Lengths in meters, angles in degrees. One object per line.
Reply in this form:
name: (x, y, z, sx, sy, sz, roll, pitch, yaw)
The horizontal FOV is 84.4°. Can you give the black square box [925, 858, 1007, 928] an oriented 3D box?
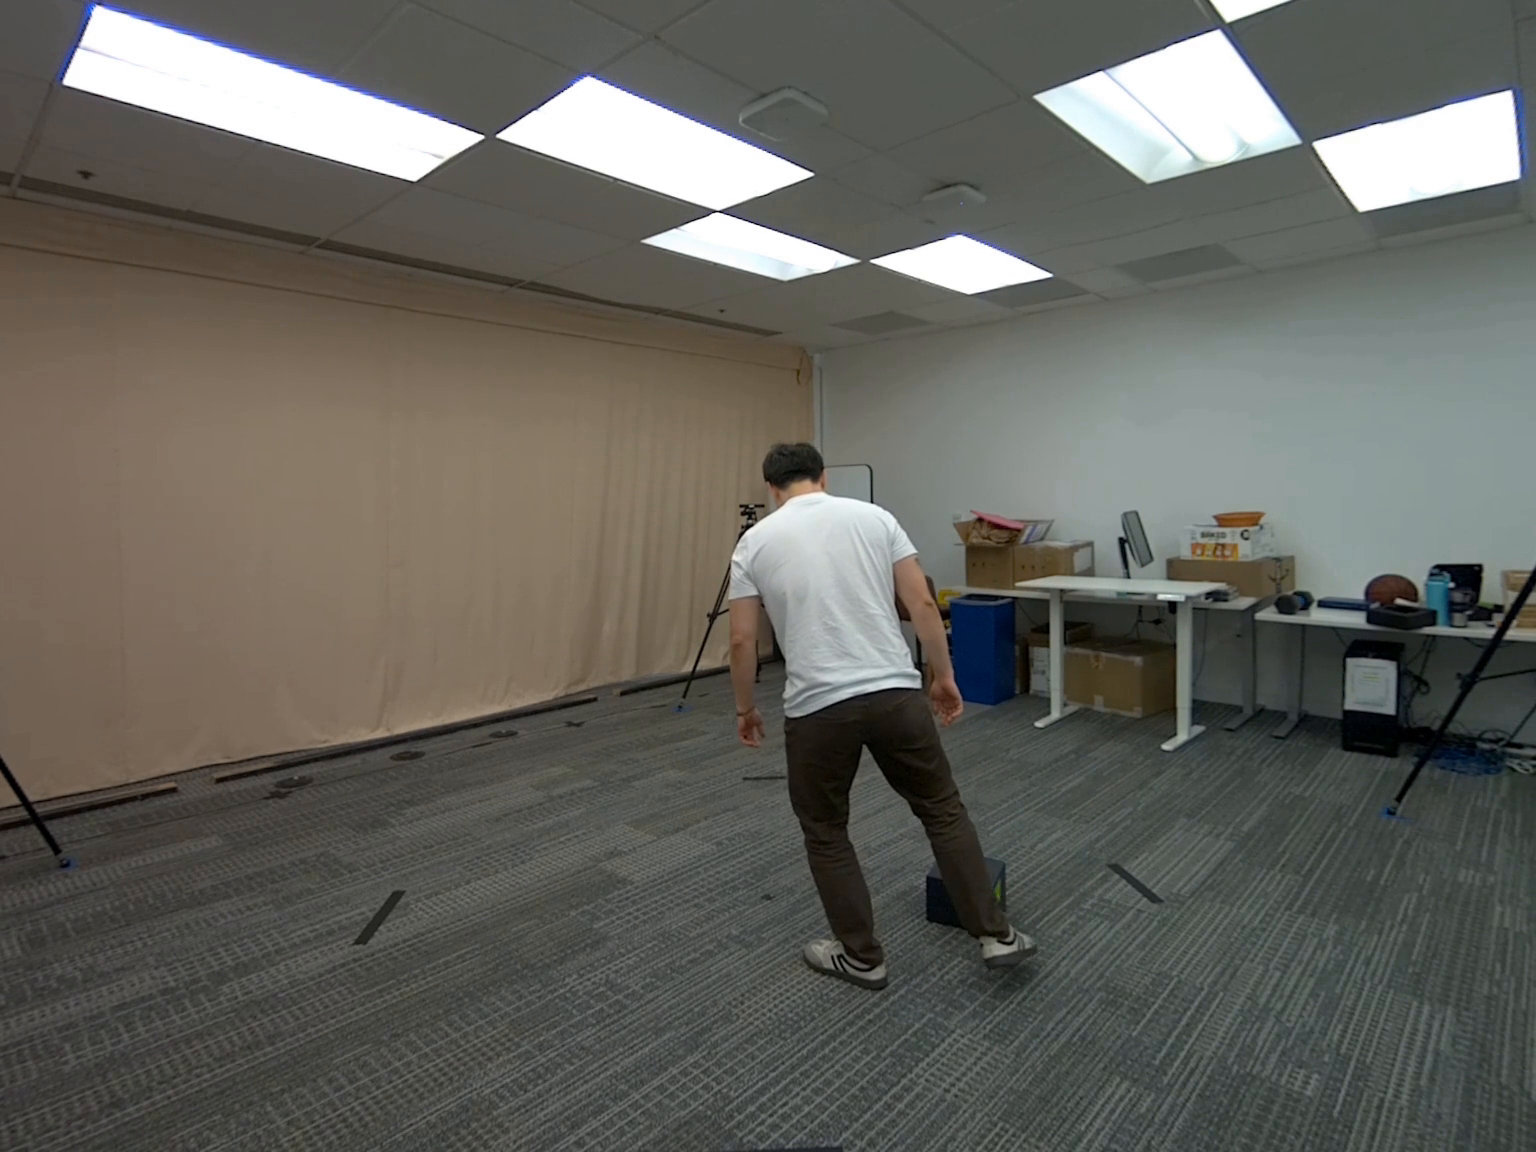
black square box: (0.674, 1.057, 2.832, 0.223, 0.155, 0.222, 1, 5, 27)
